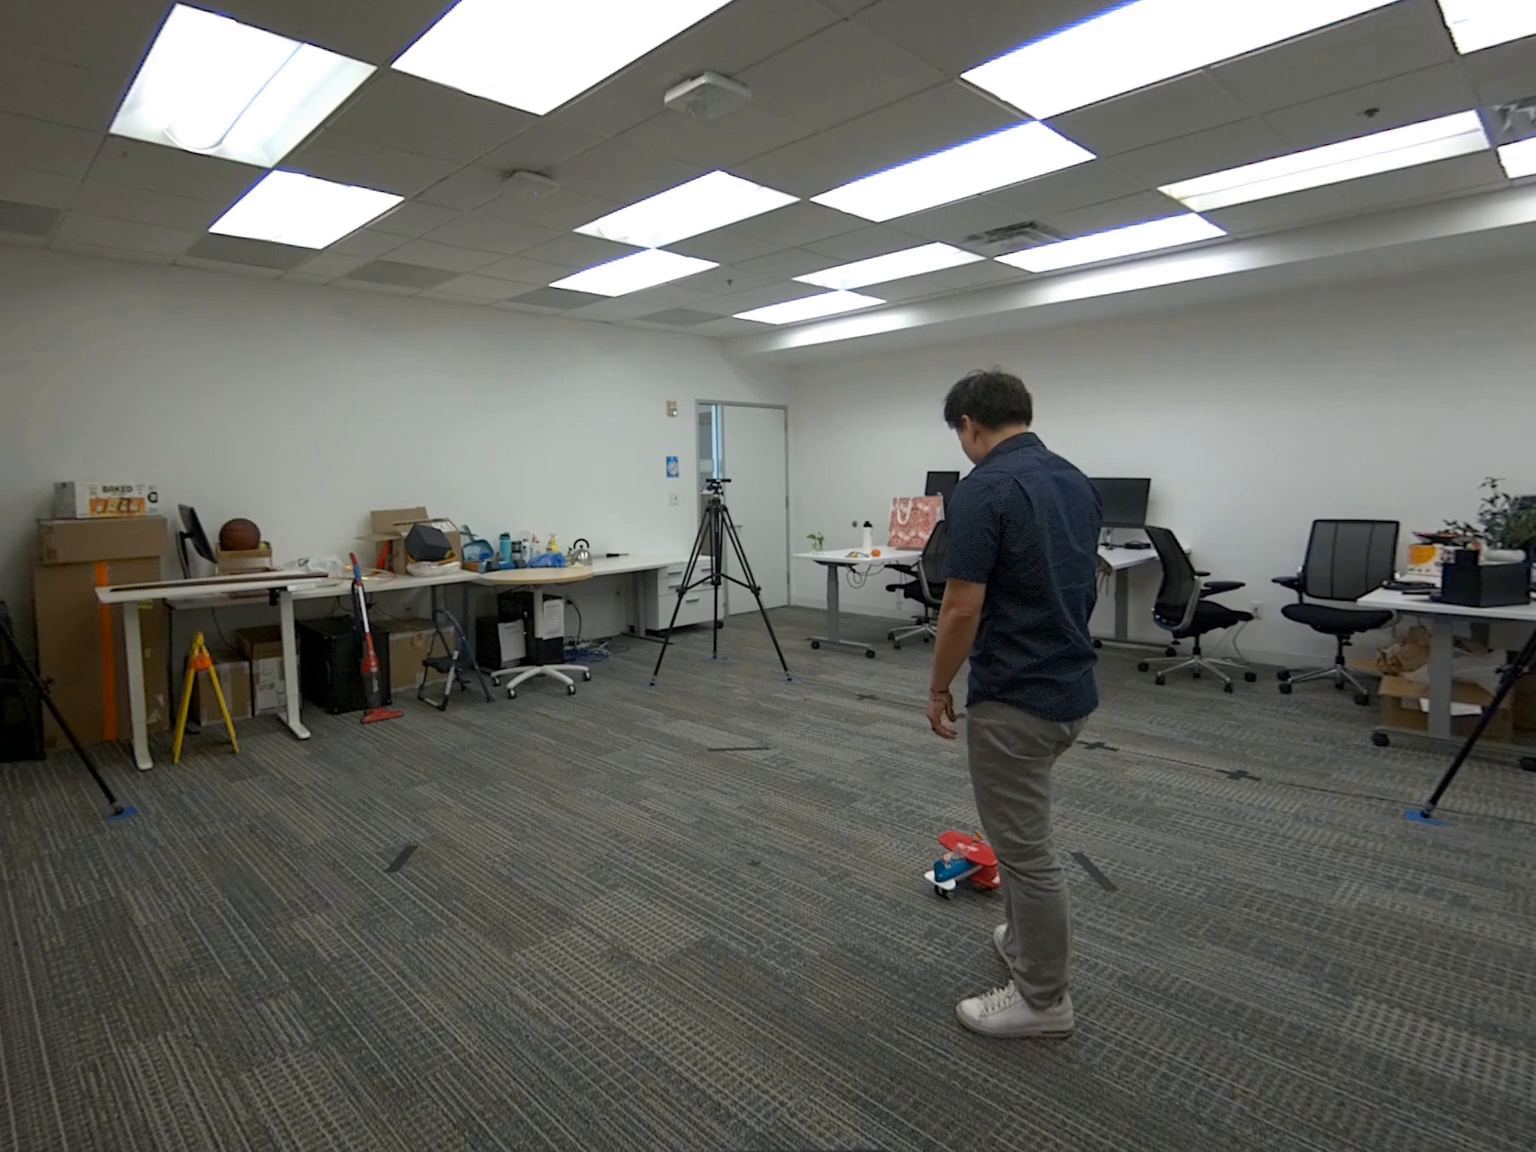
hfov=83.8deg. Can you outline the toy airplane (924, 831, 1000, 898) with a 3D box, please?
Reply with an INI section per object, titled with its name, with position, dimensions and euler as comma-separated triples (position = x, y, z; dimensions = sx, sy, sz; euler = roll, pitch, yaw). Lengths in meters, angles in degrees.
[toy airplane]
position = 0.675, 0.986, 2.864
dimensions = 0.258, 0.156, 0.253
euler = 3, 7, 31
